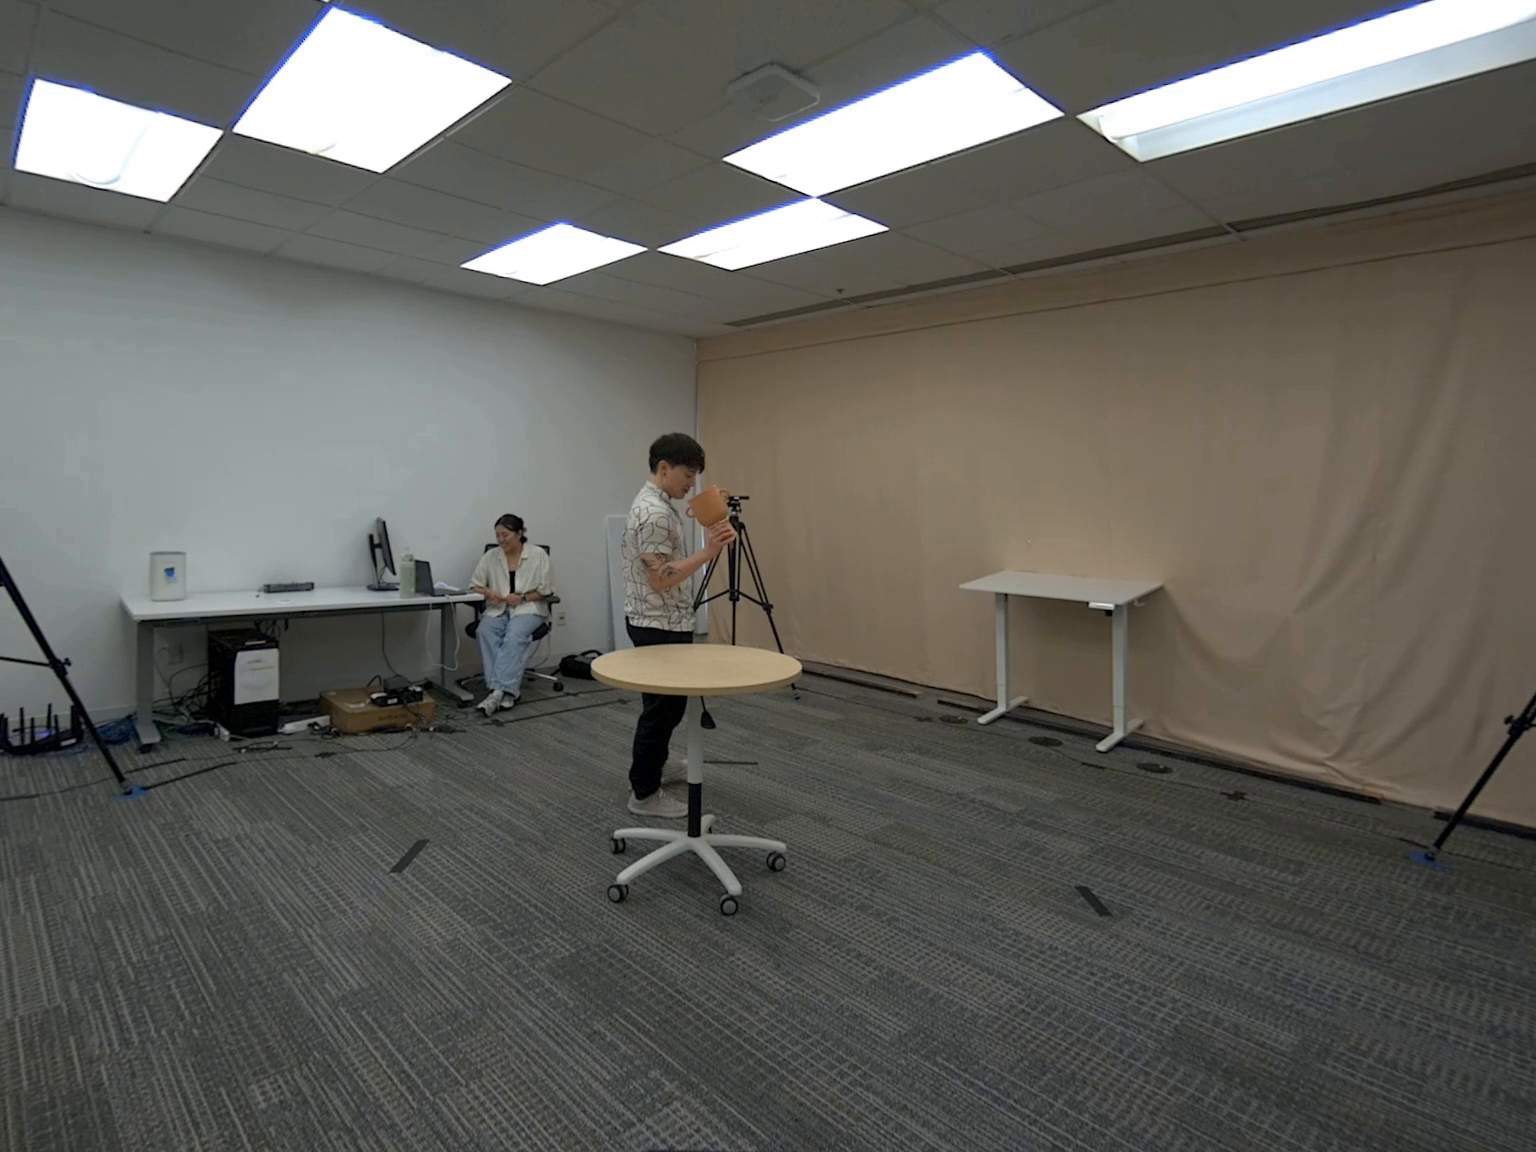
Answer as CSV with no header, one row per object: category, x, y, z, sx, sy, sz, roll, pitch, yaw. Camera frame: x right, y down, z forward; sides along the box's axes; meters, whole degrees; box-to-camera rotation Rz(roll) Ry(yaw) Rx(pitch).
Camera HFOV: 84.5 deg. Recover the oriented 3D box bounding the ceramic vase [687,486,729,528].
ceramic vase,-0.224,-0.234,3.320,0.133,0.219,0.161,-32,7,-37
